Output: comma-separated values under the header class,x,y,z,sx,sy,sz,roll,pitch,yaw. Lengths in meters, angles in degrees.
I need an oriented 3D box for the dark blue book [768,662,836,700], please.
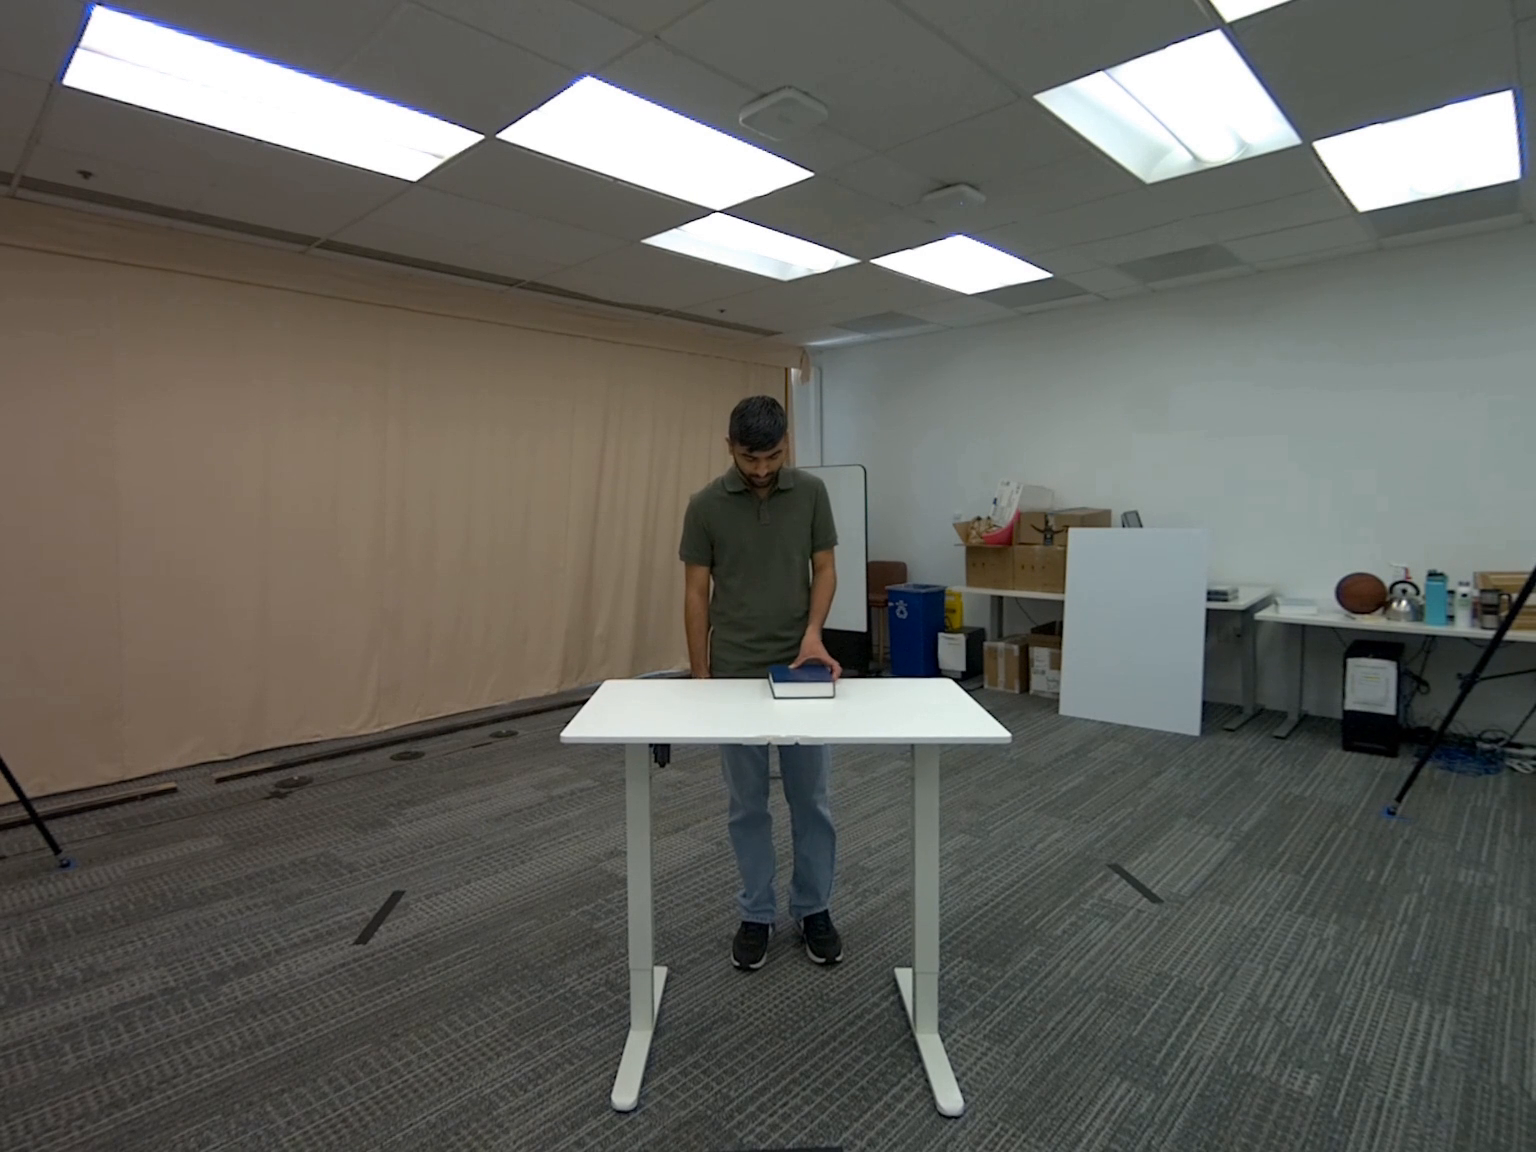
class,x,y,z,sx,sy,sz,roll,pitch,yaw
dark blue book,0.088,0.293,2.324,0.163,0.045,0.246,0,4,-1
